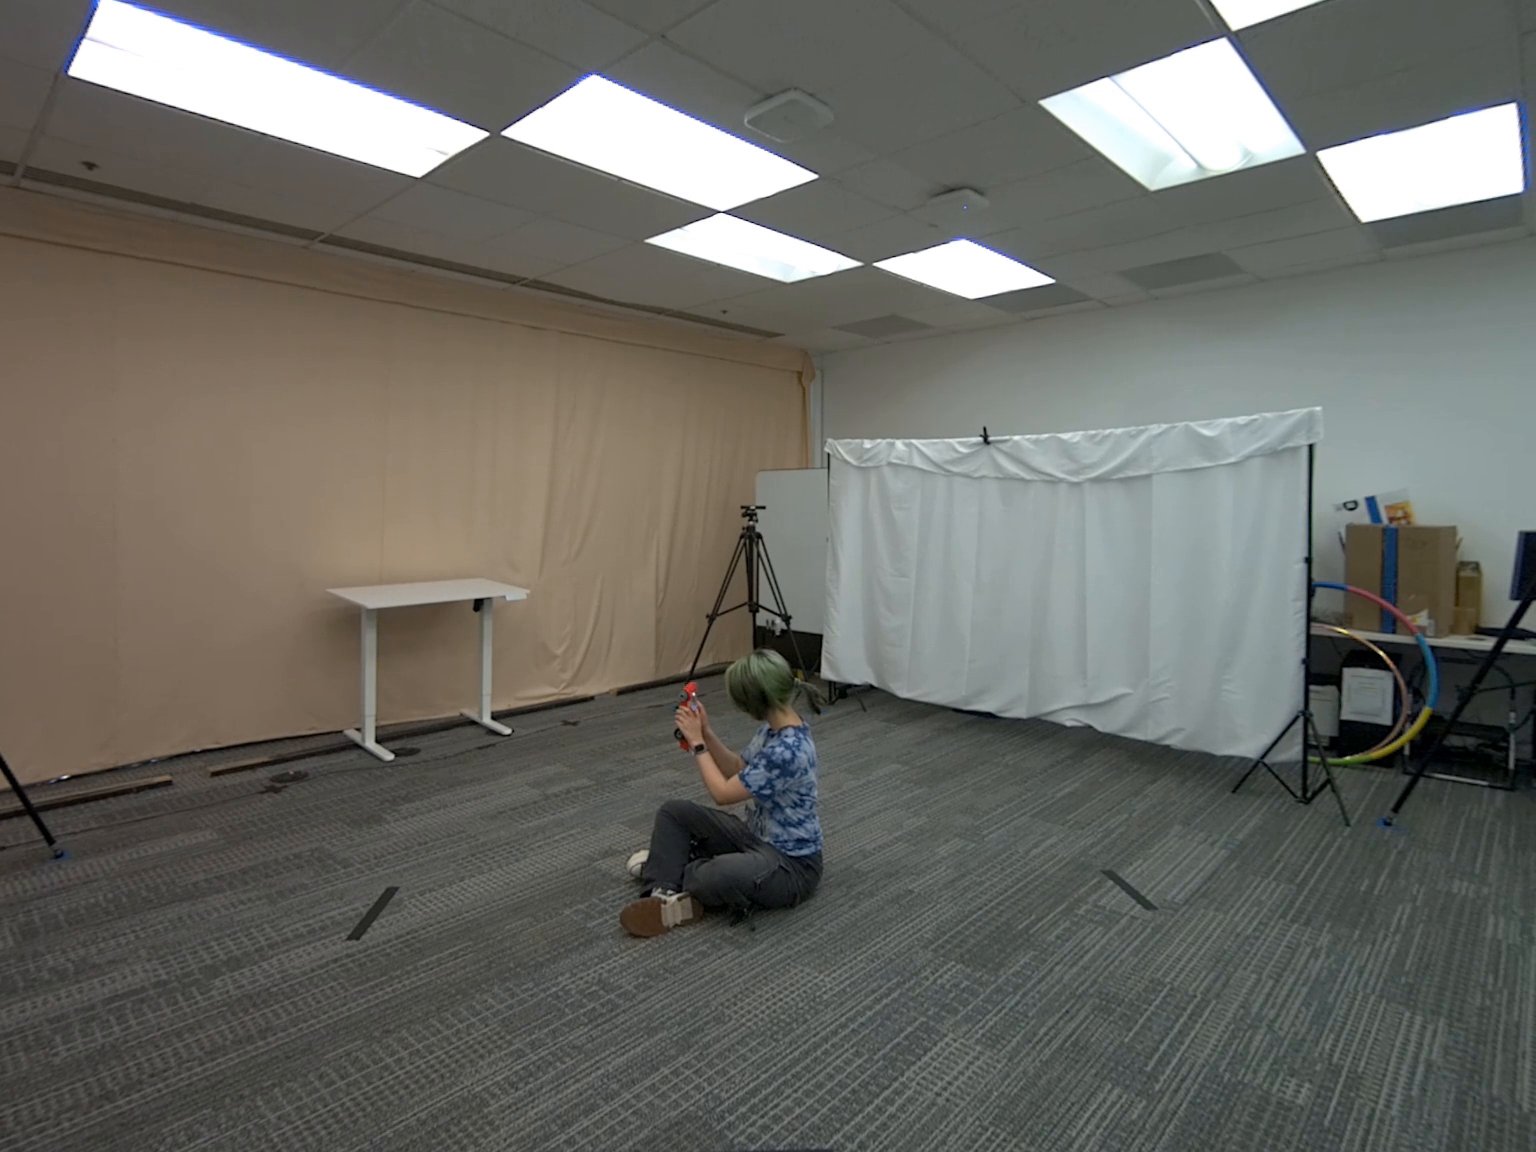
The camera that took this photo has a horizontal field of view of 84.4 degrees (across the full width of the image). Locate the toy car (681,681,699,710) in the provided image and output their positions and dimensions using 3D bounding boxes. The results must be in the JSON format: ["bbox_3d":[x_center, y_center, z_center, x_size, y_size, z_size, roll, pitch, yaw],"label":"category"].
[{"bbox_3d":[-0.305,0.545,3.192,0.084,0.254,0.129,-8,1,11],"label":"toy car"}]
